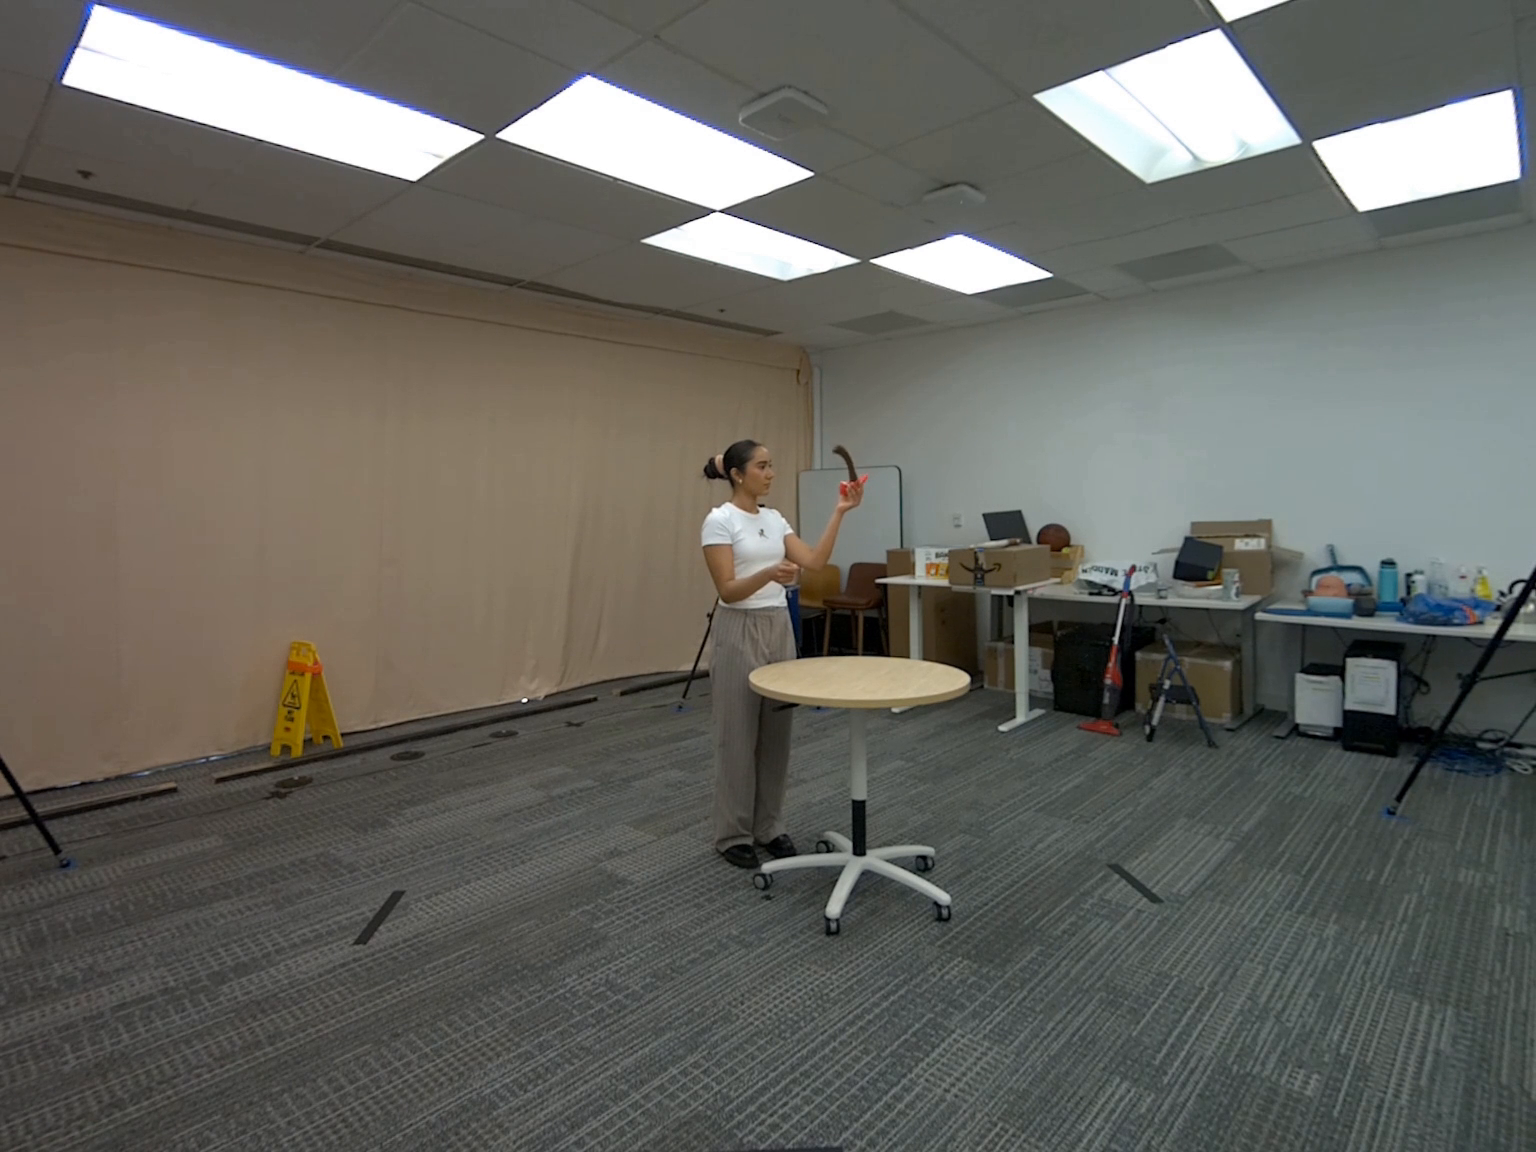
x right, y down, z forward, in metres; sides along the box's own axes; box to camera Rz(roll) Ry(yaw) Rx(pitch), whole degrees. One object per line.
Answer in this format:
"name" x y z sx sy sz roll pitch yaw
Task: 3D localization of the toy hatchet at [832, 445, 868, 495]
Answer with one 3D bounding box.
"toy hatchet" 0.279 -0.384 3.143 0.030 0.131 0.260 49 8 39
